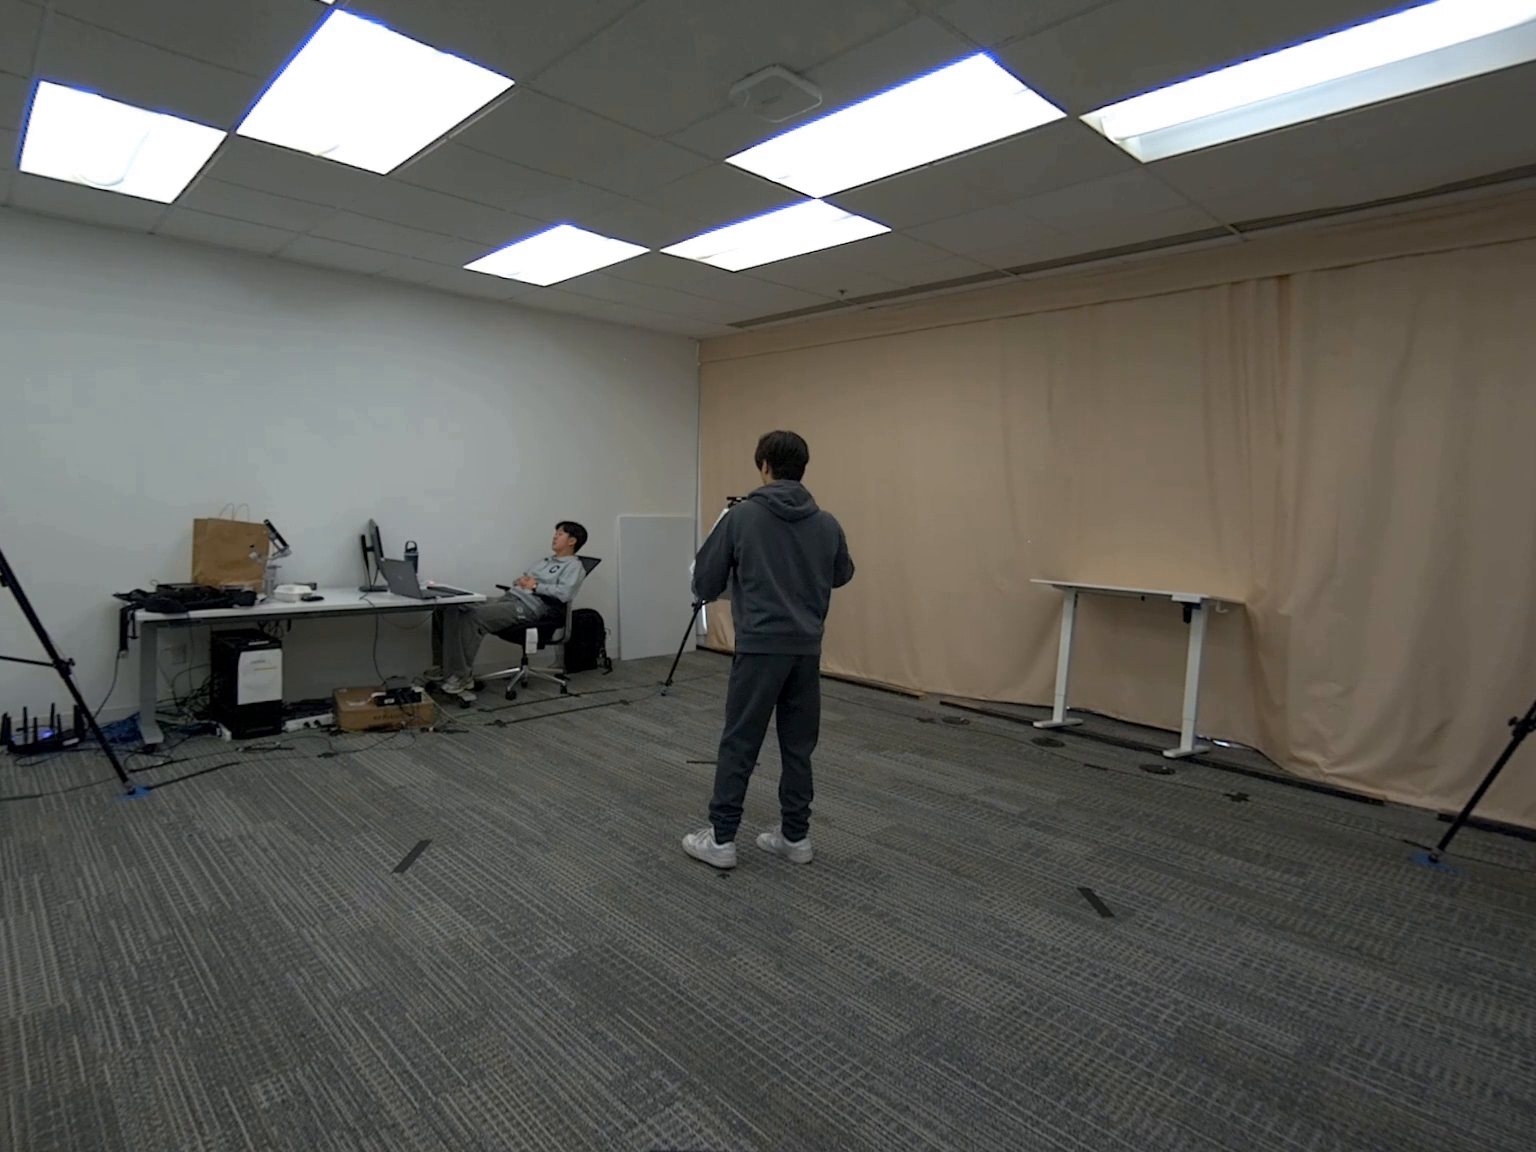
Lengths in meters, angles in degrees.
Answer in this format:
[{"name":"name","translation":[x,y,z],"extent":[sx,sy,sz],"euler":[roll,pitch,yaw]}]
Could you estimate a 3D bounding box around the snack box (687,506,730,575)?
[{"name":"snack box","translation":[-0.074,-0.073,3.730],"extent":[0.394,0.338,0.212],"euler":[9,34,-39]}]
